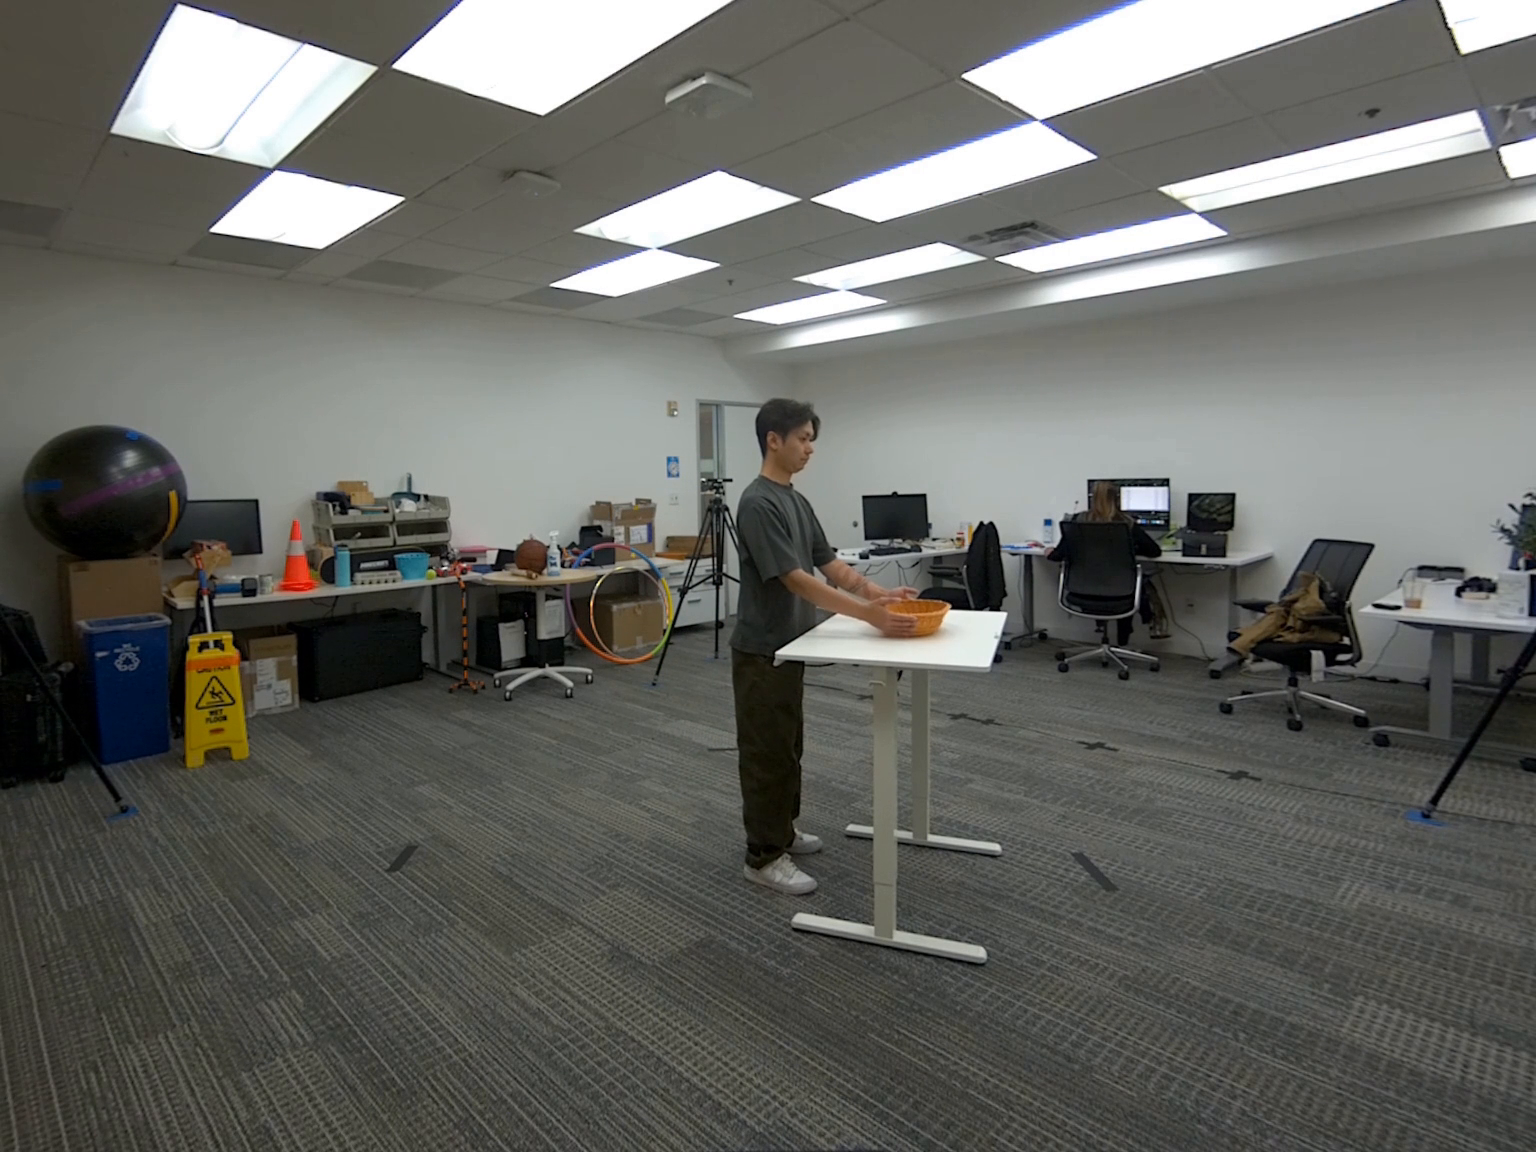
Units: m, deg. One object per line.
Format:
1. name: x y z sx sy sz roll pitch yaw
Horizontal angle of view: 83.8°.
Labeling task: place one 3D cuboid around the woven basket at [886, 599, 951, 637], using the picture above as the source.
1. woven basket: 0.461 0.136 2.837 0.258 0.073 0.344 3 7 25
